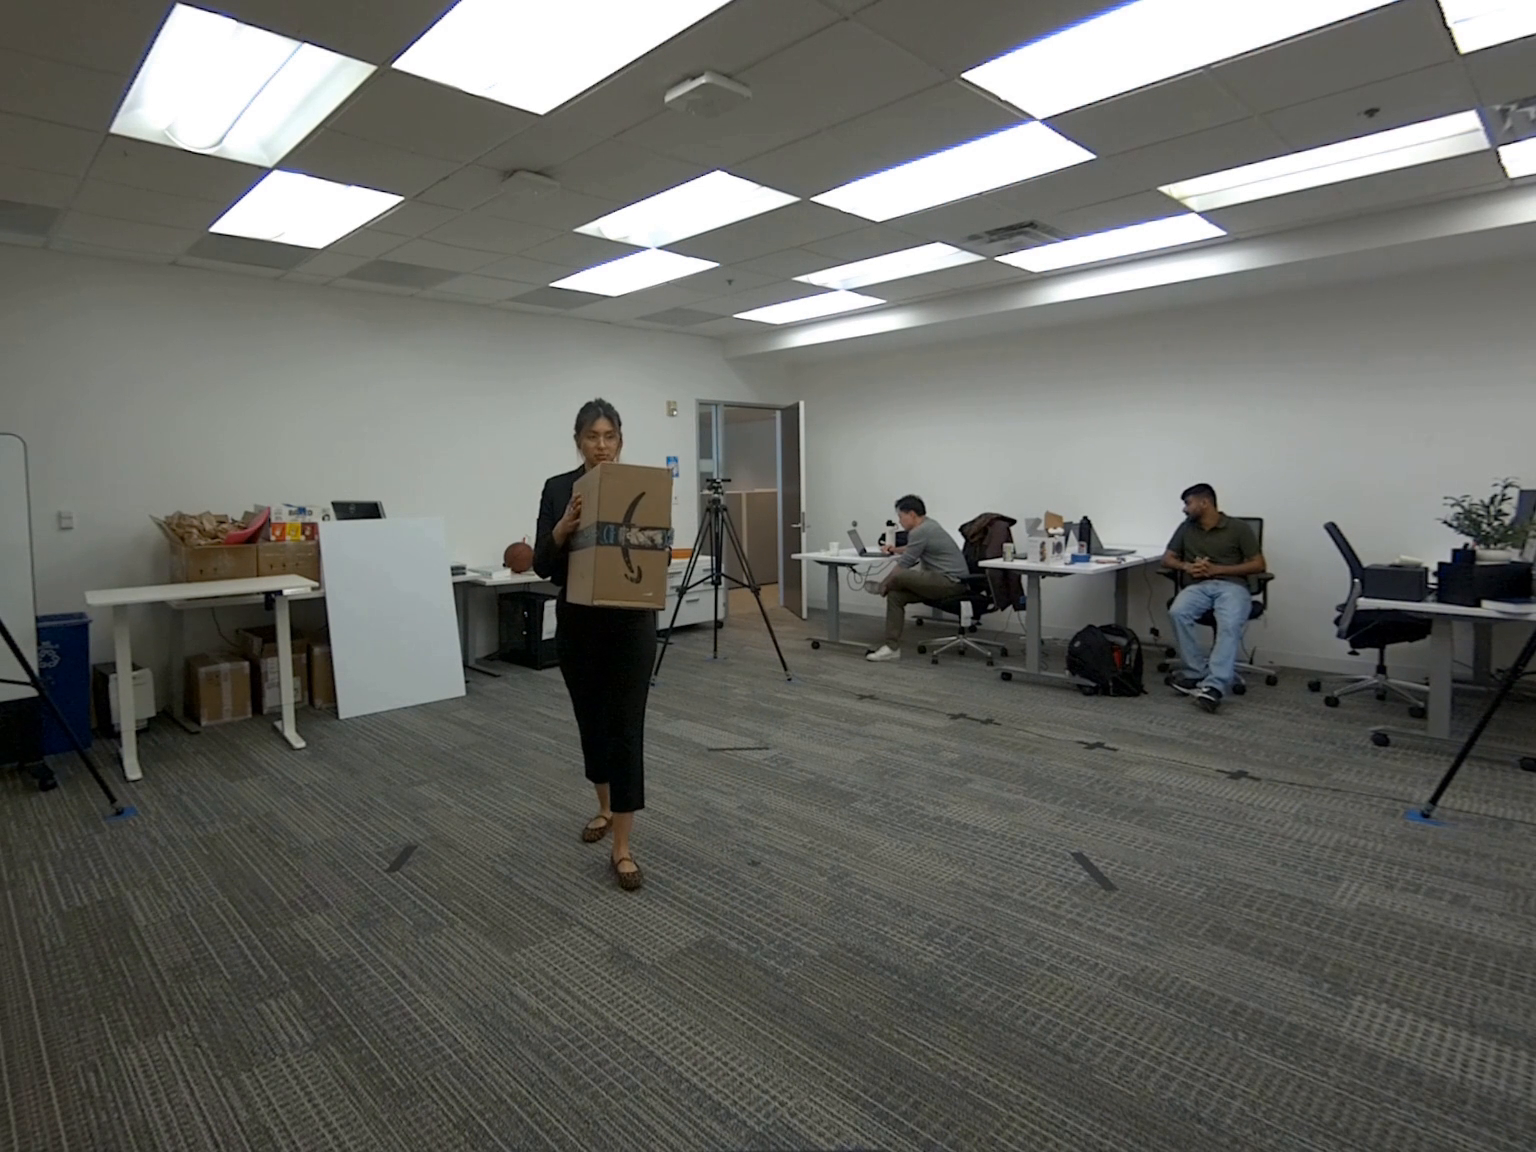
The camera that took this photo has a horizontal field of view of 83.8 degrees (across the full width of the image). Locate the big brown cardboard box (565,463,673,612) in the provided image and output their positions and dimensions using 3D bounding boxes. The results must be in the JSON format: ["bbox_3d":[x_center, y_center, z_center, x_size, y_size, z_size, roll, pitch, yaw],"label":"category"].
[{"bbox_3d":[-0.483,-0.116,2.717,0.228,0.419,0.599,5,-3,-21],"label":"big brown cardboard box"}]
